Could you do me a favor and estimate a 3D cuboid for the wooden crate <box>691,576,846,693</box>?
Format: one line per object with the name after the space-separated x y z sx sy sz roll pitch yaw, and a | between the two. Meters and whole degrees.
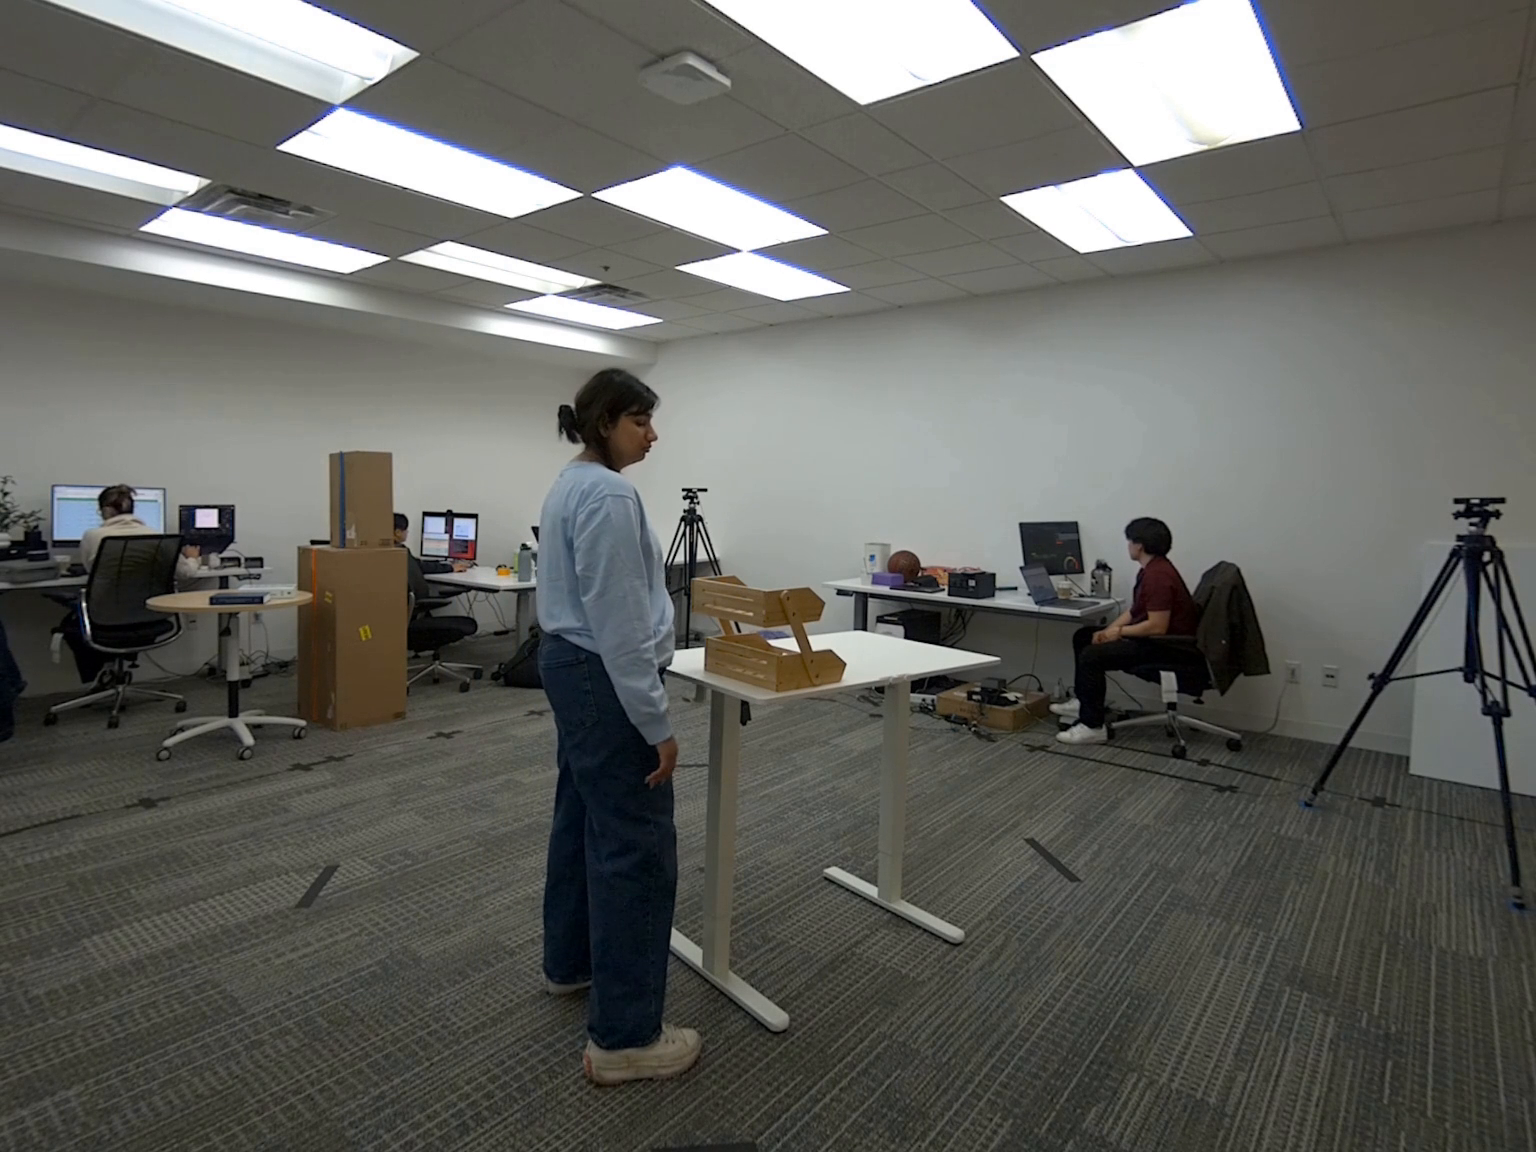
-0.006 0.141 2.292 0.293 0.272 0.336 -4 7 -40 | wooden crate
